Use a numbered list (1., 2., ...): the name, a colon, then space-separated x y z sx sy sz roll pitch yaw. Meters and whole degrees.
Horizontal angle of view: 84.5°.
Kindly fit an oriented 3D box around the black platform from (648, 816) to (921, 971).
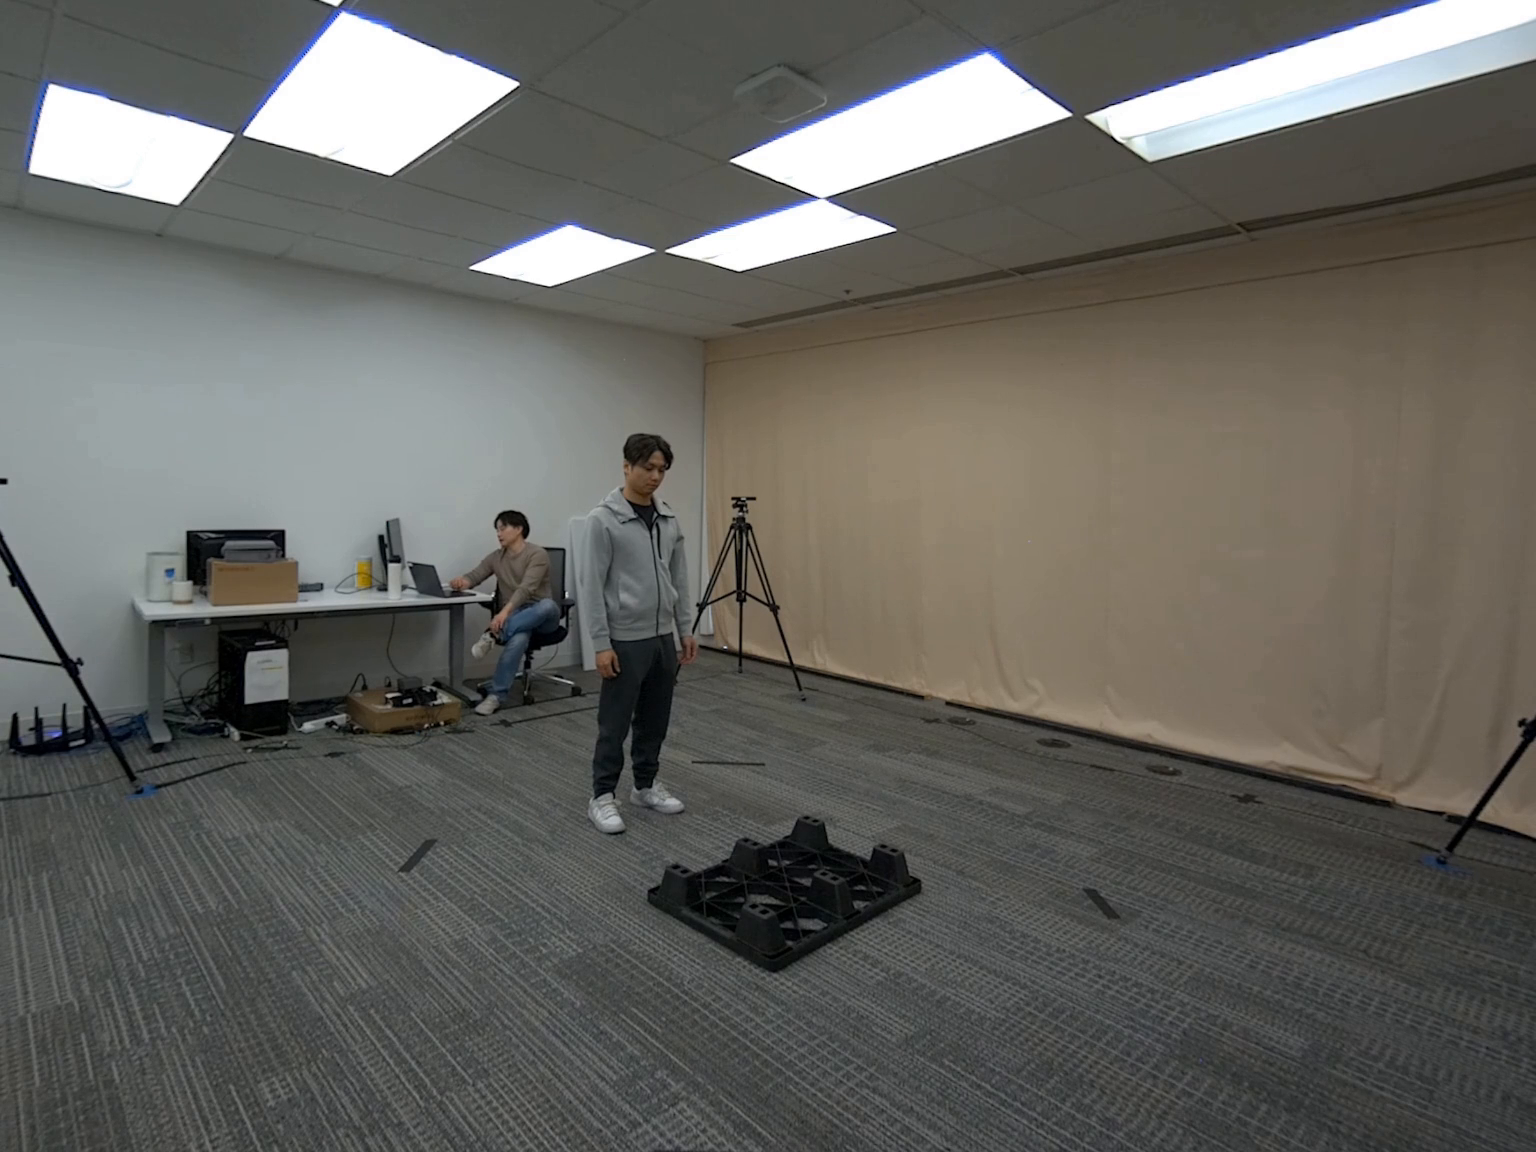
1. black platform: 0.062 1.060 2.945 0.621 0.143 0.787 6 7 44
